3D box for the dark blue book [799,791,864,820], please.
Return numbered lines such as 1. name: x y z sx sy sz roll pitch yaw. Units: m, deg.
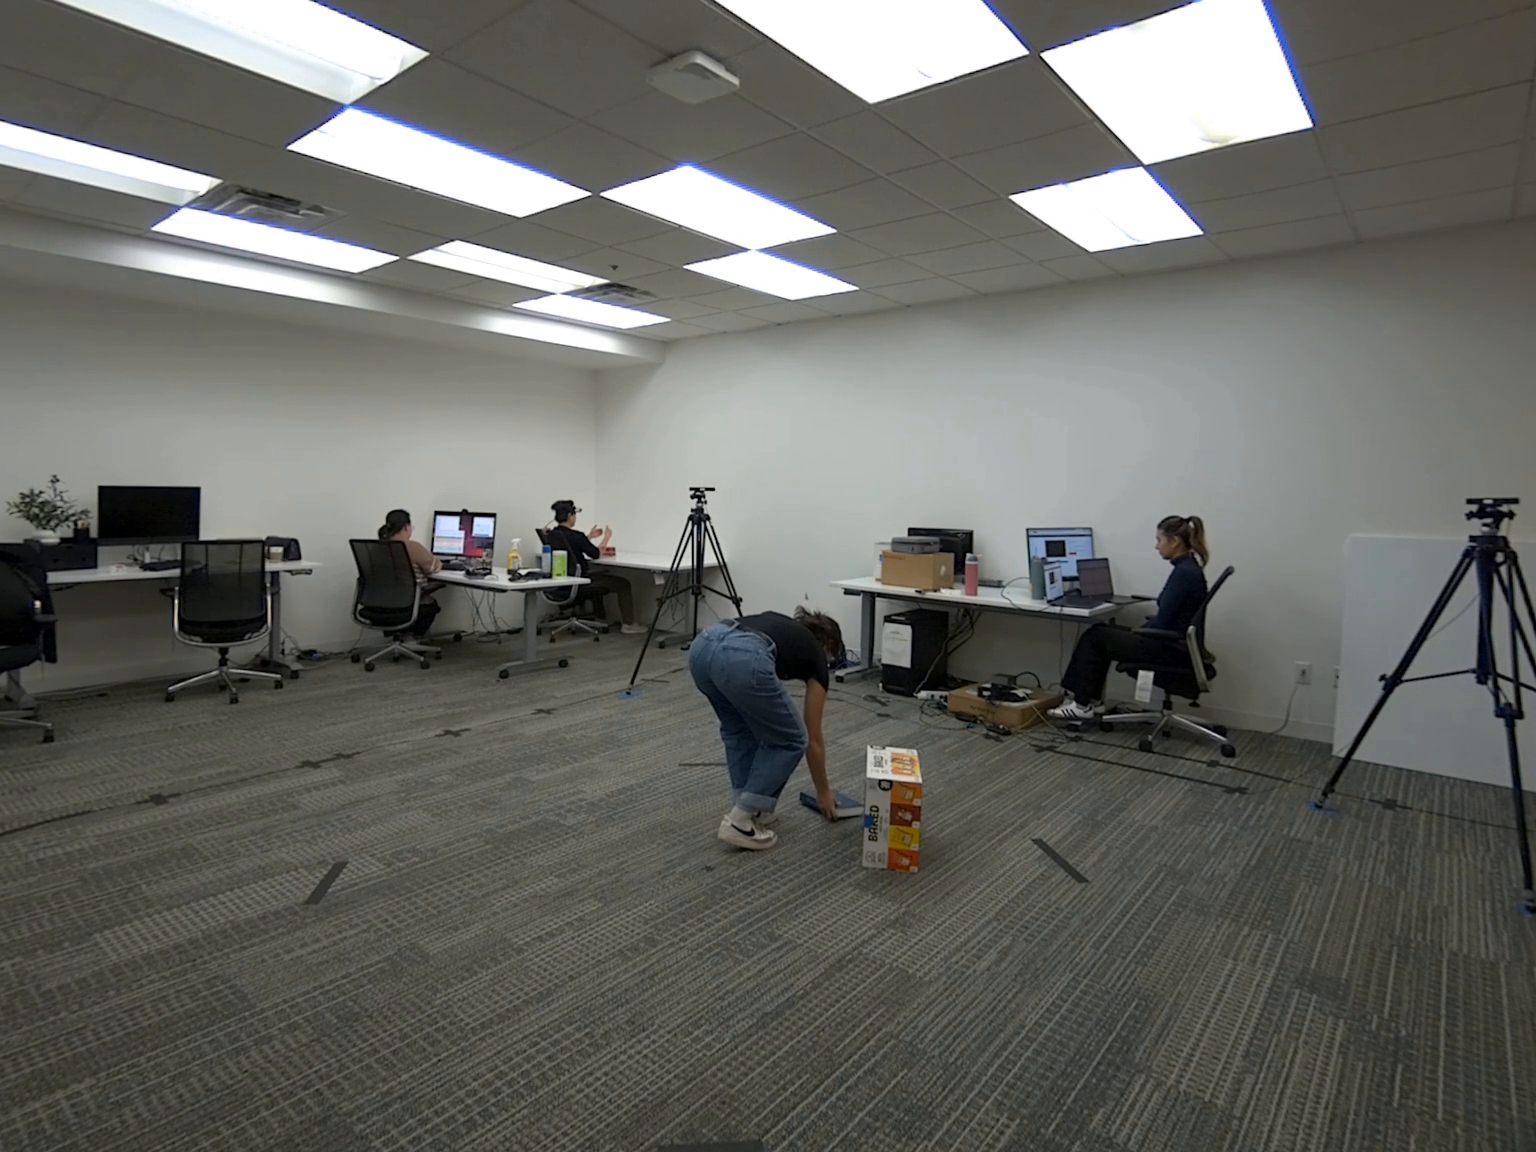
1. dark blue book: 0.273 0.988 3.728 0.158 0.045 0.253 3 4 -35
